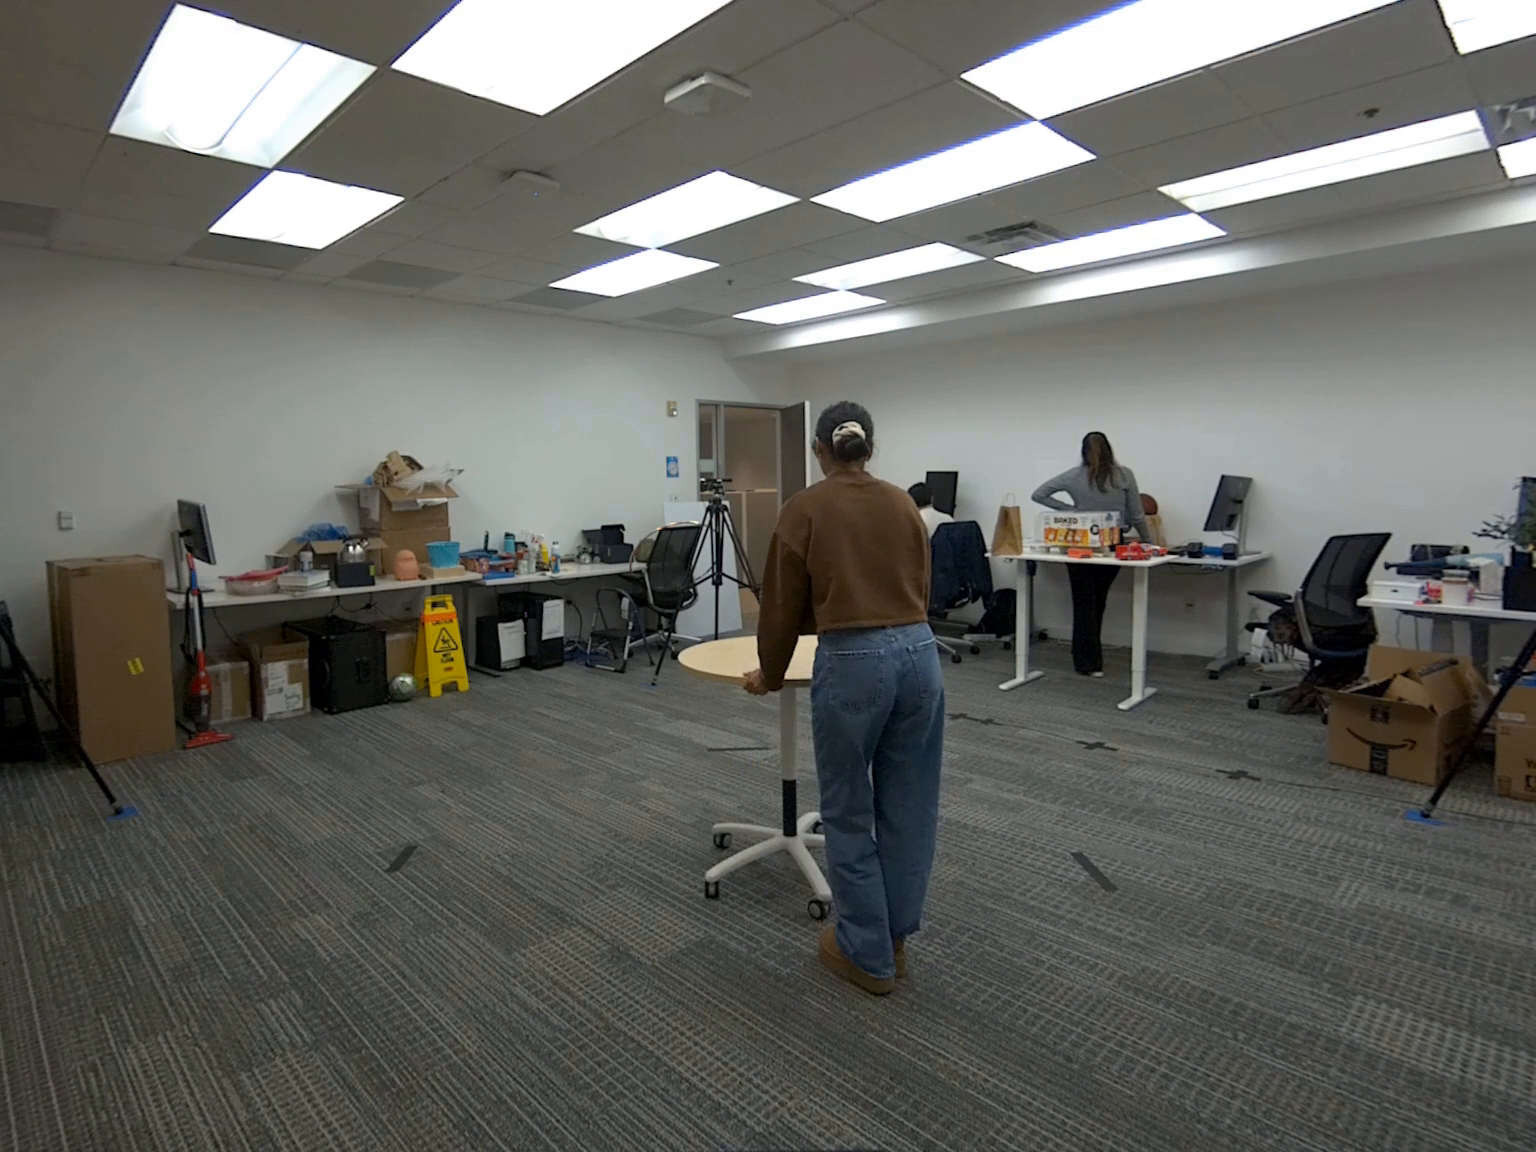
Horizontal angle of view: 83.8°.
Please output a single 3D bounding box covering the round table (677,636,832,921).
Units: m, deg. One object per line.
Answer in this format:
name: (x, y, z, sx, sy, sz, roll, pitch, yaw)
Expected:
round table: (0.067, 0.658, 3.021, 0.784, 0.784, 0.789, -1, 5, -2)
